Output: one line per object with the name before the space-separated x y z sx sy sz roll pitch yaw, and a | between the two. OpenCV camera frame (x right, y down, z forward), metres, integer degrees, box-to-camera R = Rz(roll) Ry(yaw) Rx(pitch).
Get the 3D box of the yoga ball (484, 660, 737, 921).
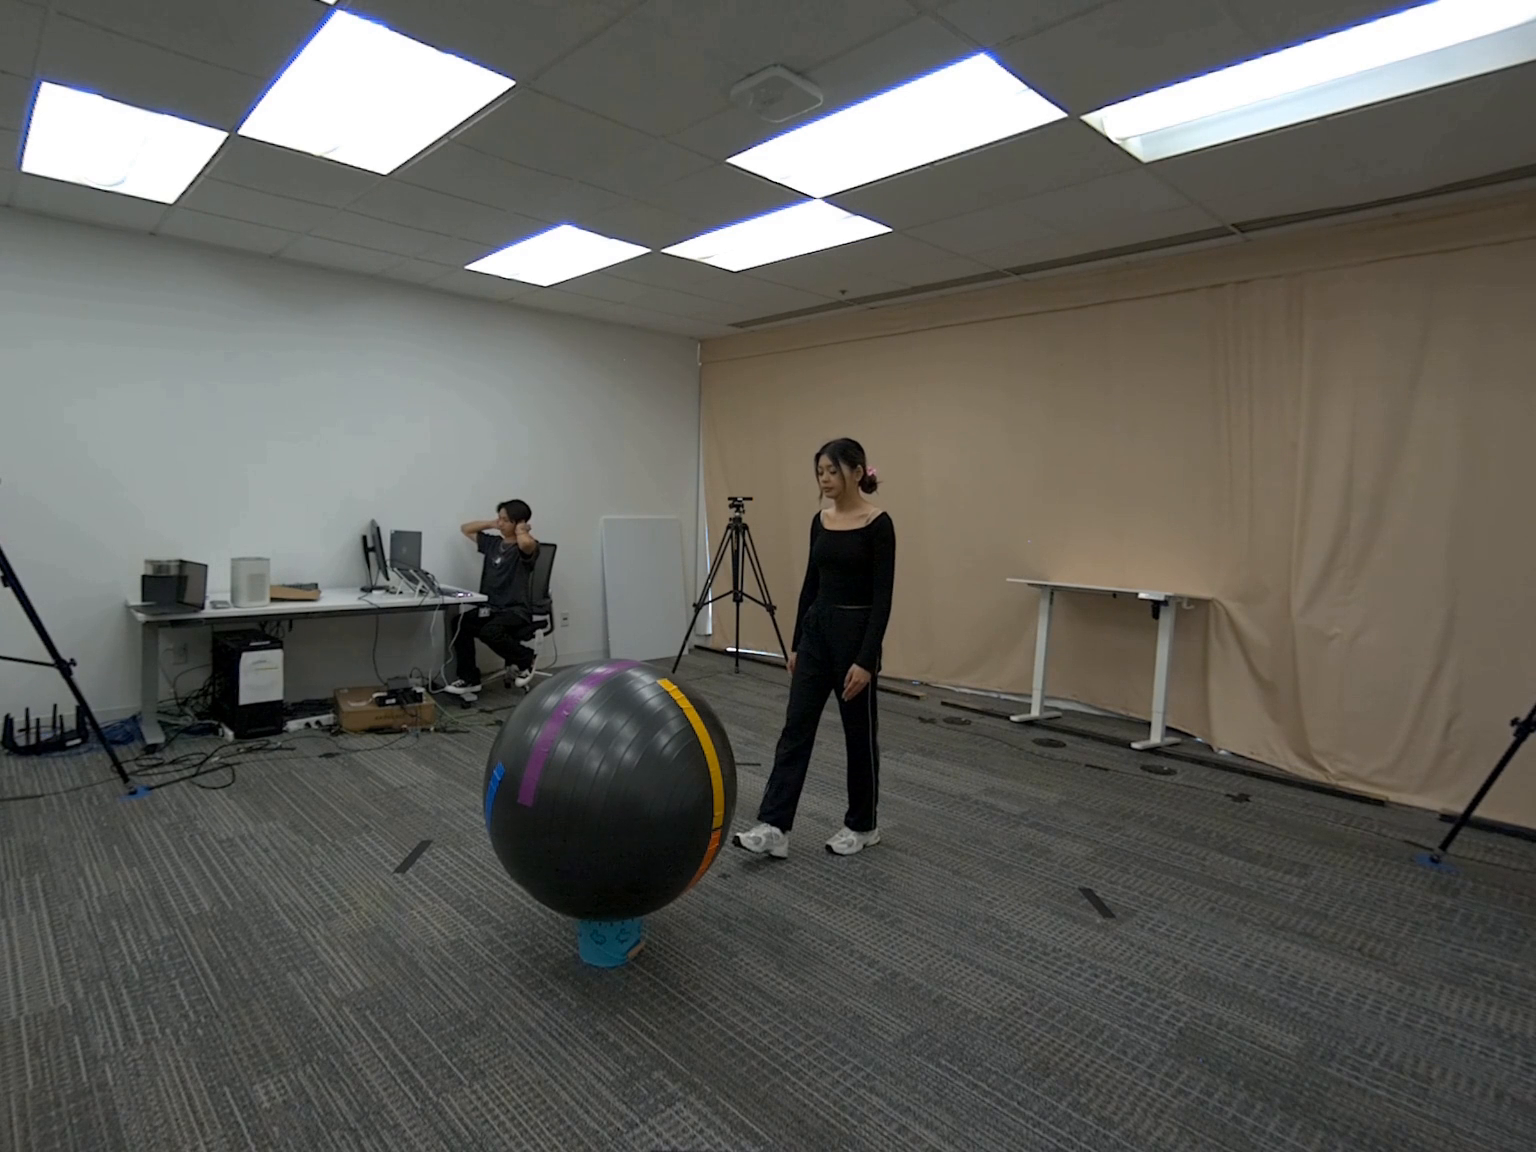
yoga ball | -0.474 0.637 2.548 0.757 0.756 0.761 1 4 -1
